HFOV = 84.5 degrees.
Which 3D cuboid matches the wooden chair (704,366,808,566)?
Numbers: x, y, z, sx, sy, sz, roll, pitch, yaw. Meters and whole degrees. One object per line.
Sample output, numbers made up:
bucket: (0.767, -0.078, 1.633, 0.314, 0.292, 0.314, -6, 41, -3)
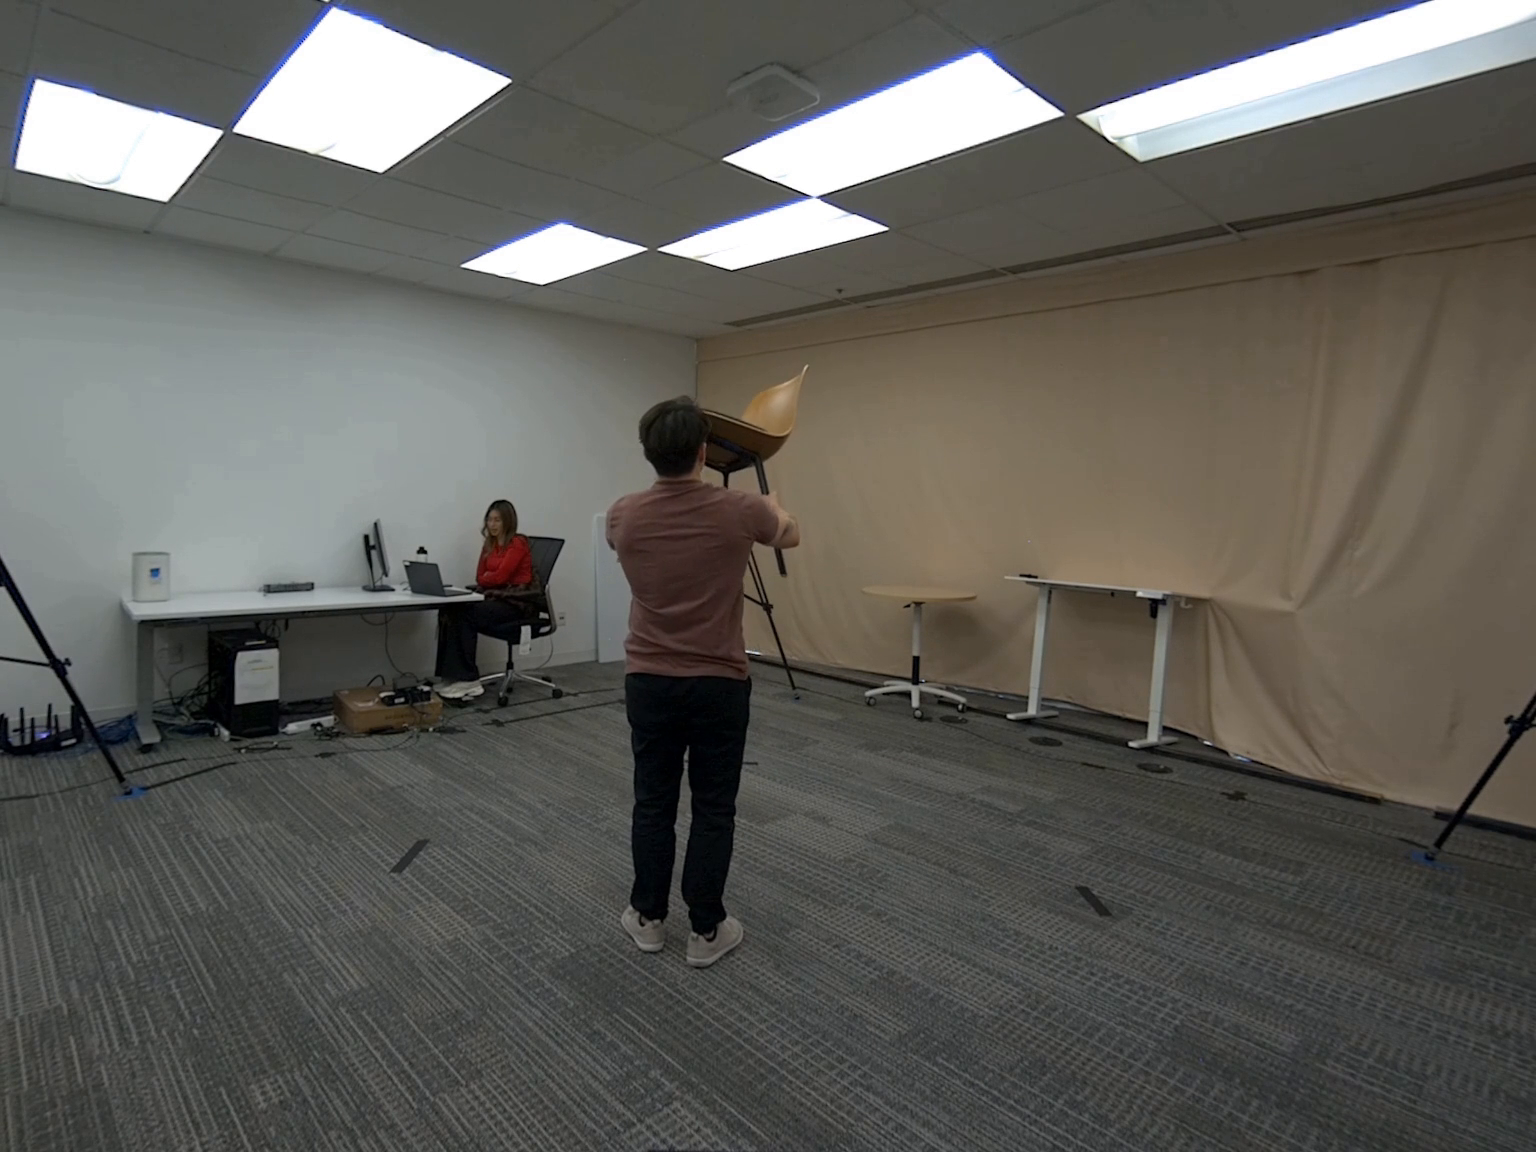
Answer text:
wooden chair: (-0.199, -0.439, 3.083, 0.511, 0.885, 0.485, 20, -18, -26)
